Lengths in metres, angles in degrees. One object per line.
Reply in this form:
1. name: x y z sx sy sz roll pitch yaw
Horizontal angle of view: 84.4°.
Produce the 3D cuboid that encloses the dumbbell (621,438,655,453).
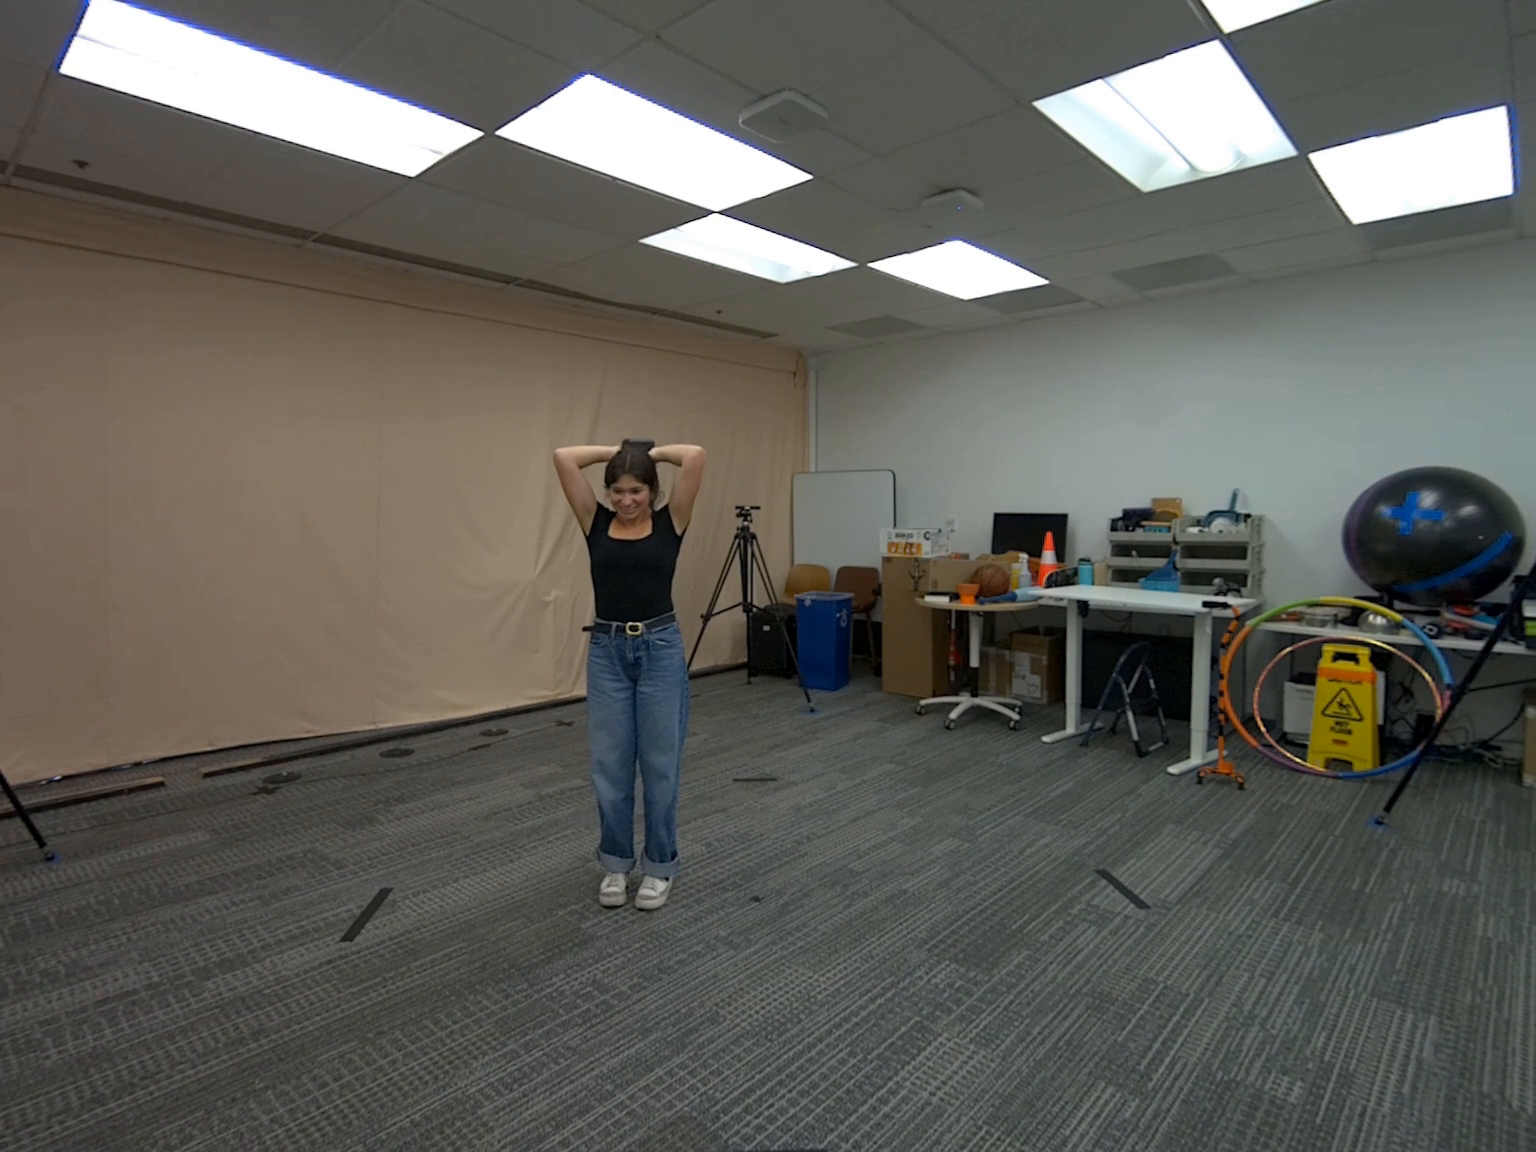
1. dumbbell: -0.483 -0.371 3.125 0.112 0.292 0.120 3 8 28
